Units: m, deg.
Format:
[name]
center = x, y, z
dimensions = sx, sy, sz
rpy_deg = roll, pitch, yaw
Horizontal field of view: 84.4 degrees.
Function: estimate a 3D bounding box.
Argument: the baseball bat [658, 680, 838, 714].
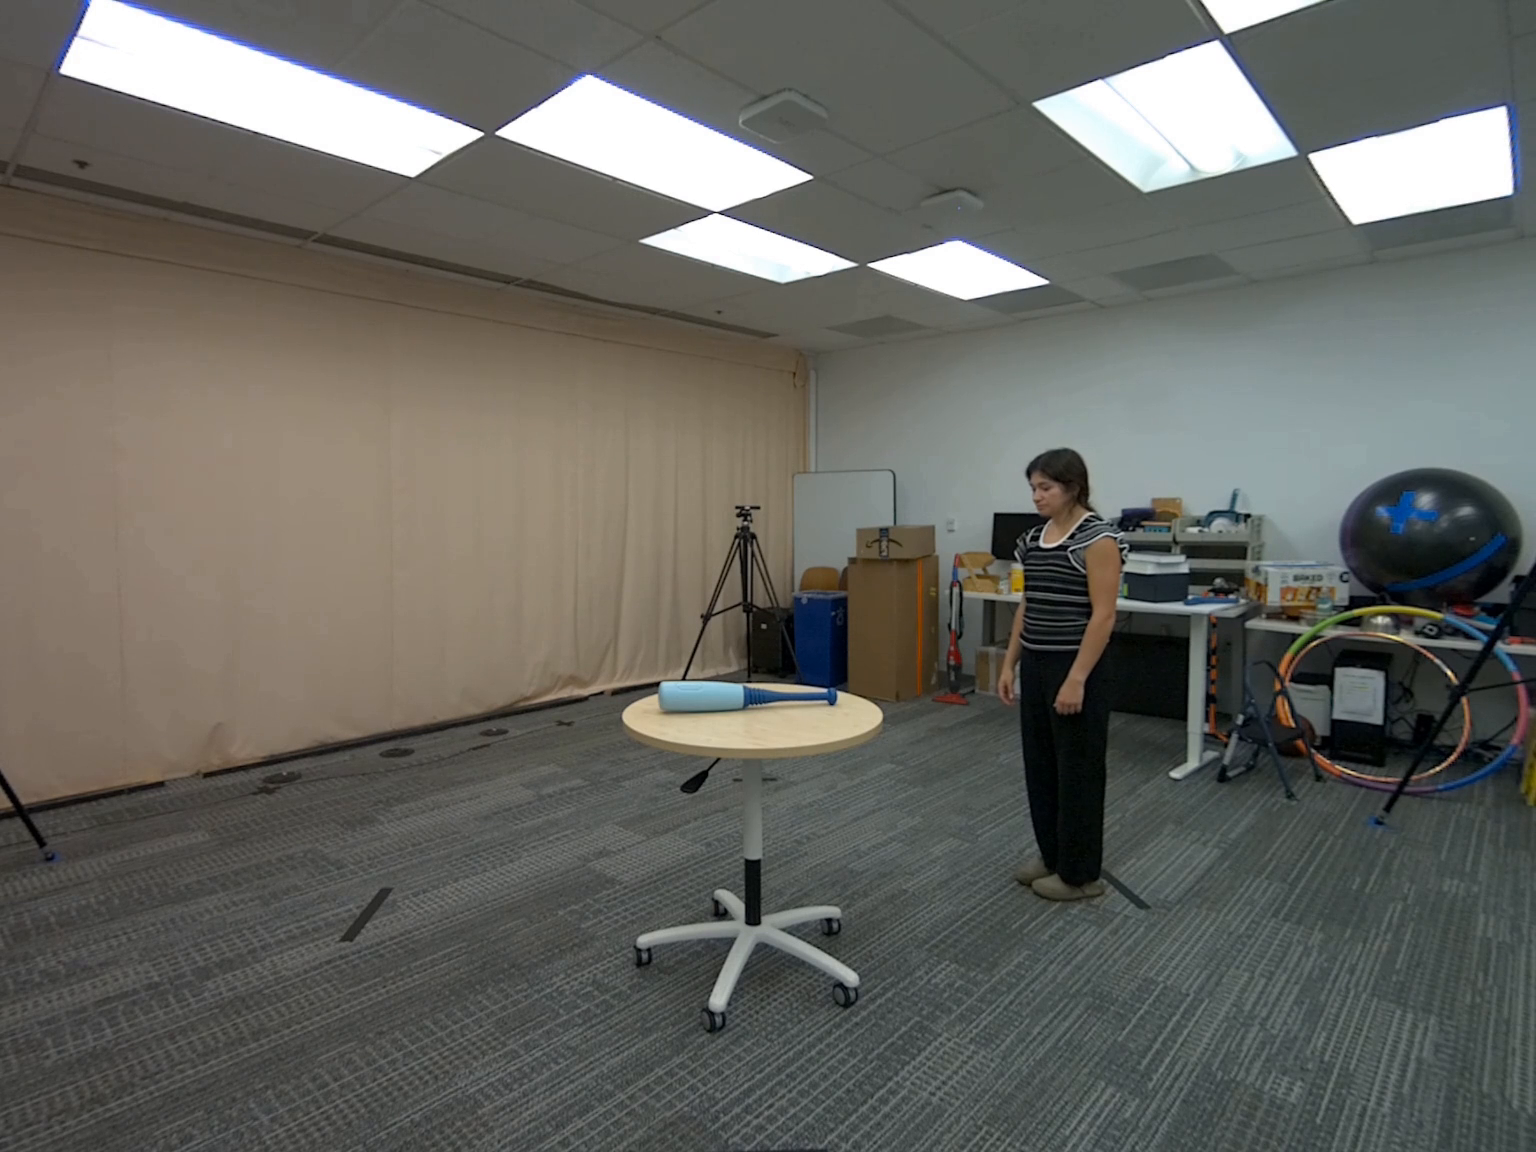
[baseball bat]
center = -0.049, 0.362, 2.520
dimensions = 0.538, 0.089, 0.090
rpy_deg = 1, 3, -8
